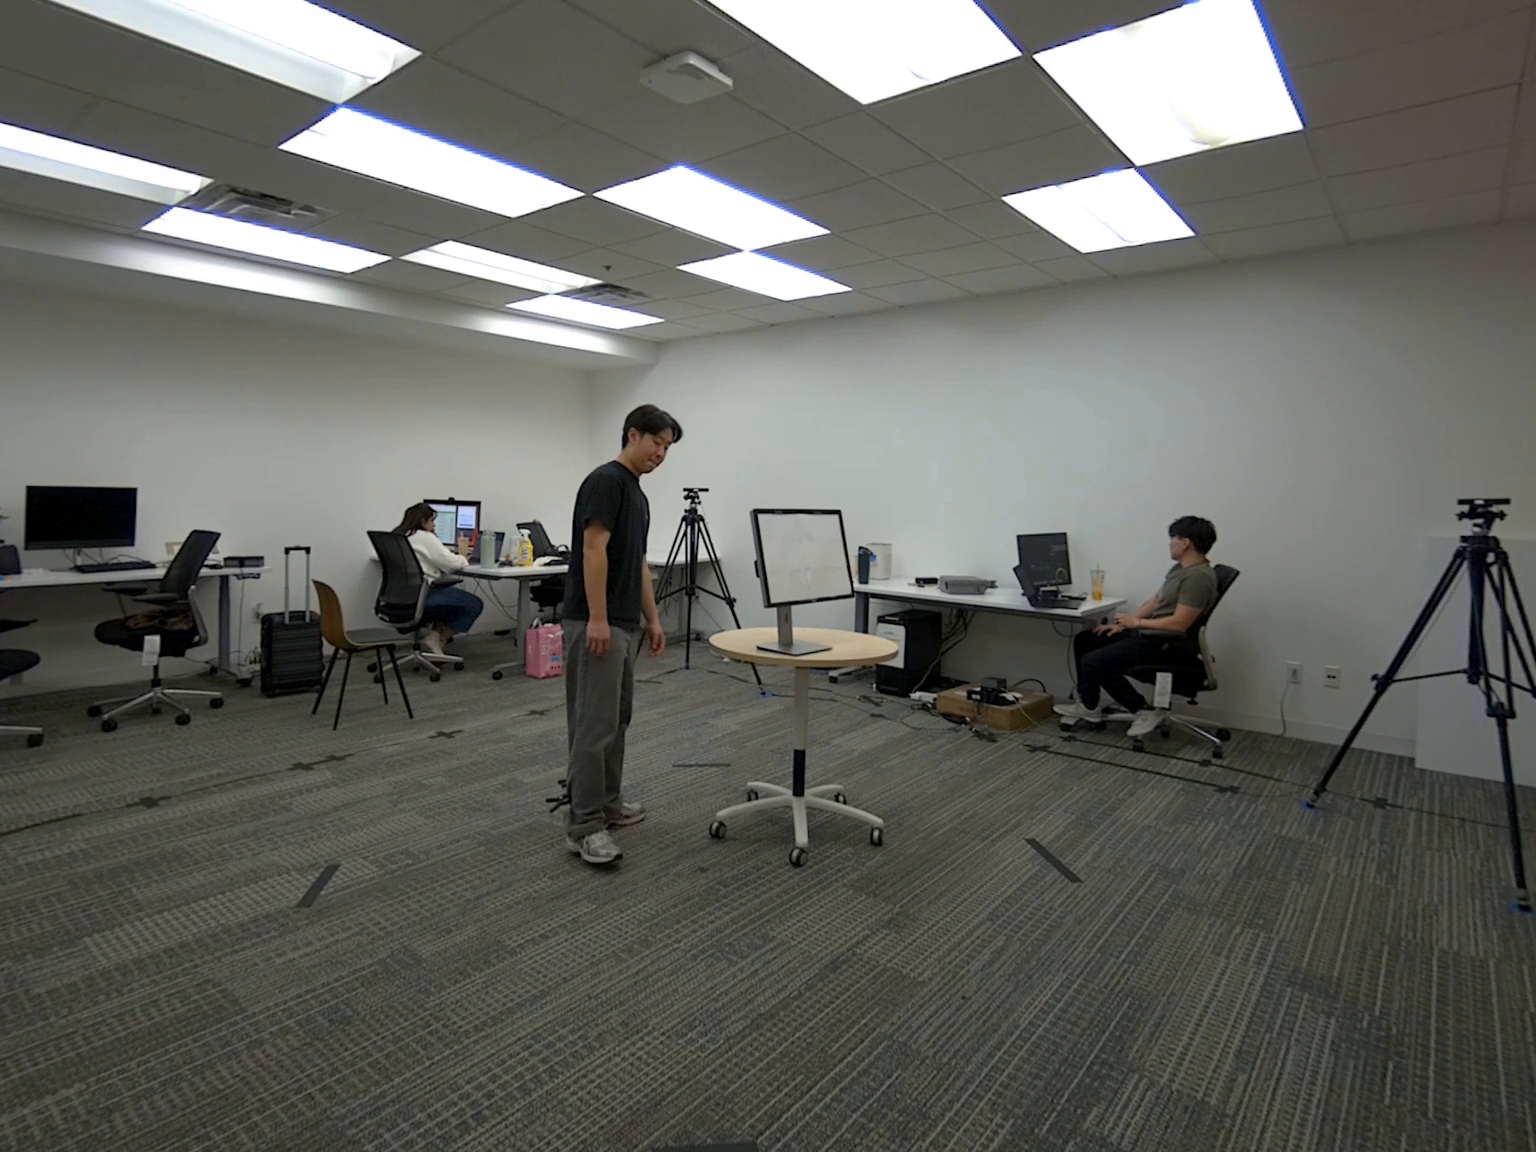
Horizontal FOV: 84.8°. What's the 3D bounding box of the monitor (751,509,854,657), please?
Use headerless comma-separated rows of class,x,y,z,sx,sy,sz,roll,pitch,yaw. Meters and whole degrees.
monitor,0.081,0.015,3.309,0.216,0.555,0.548,-5,-1,39
